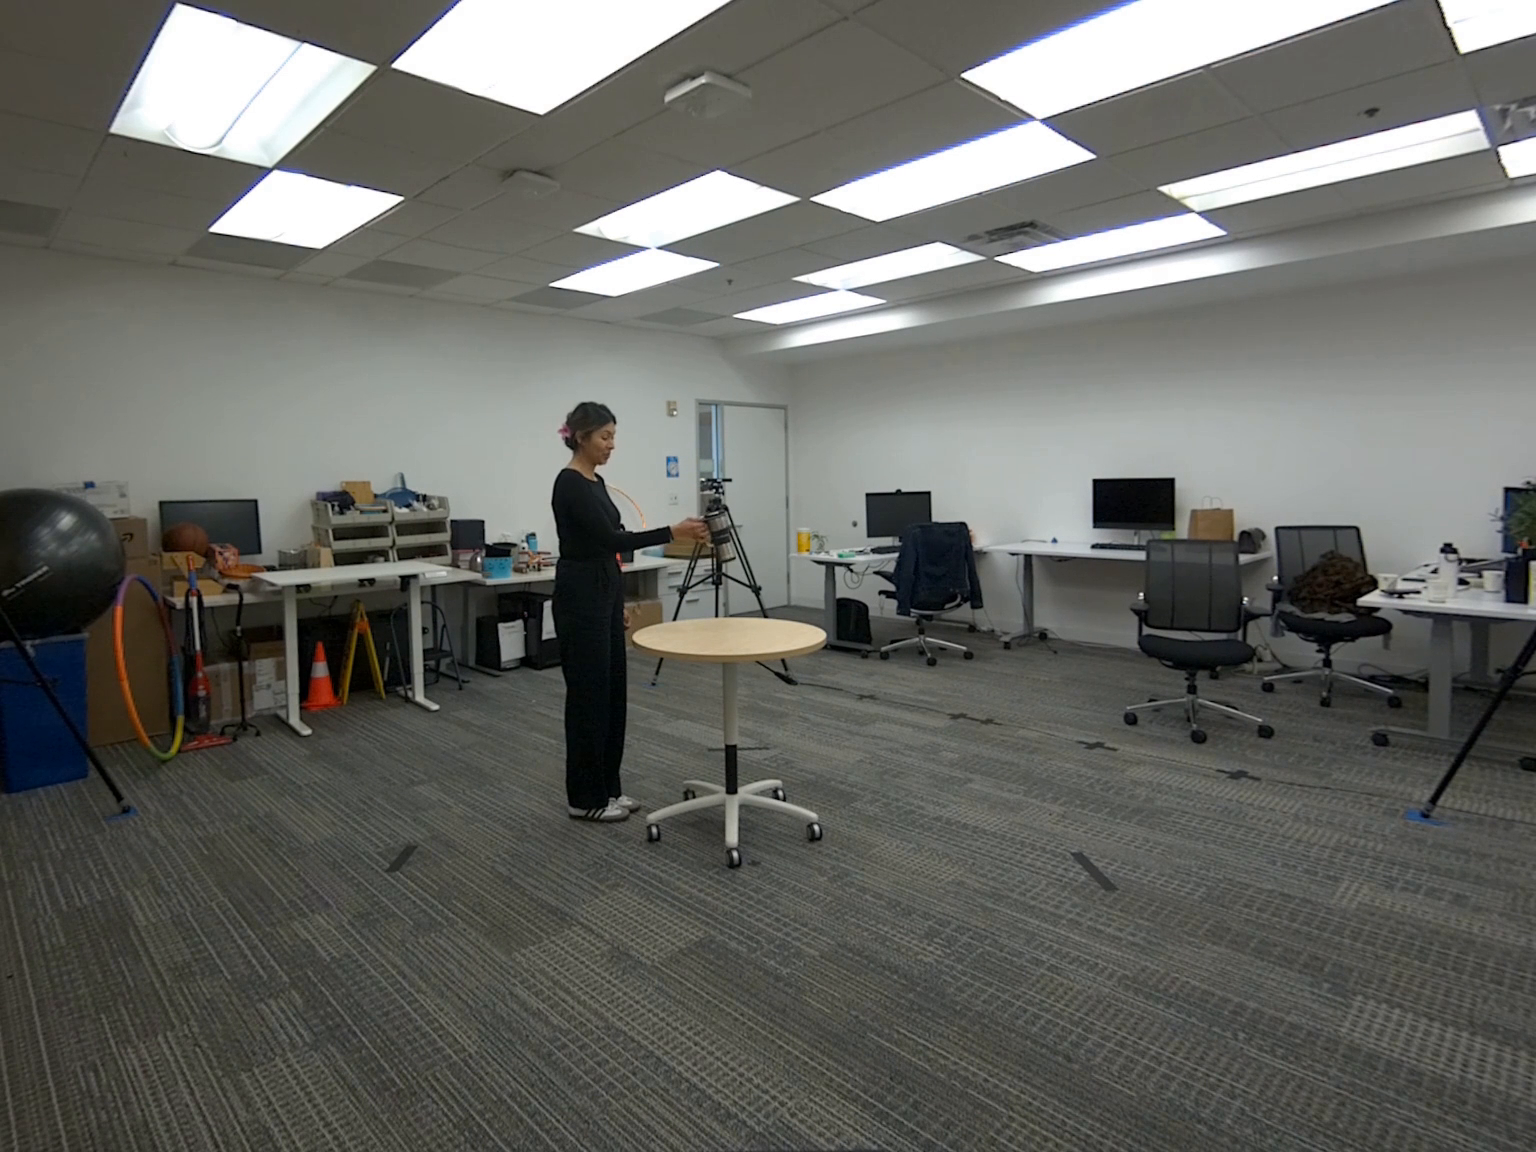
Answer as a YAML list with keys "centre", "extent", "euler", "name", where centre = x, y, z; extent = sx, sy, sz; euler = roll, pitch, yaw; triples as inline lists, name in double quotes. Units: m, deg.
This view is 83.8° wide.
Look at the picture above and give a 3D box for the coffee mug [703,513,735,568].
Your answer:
- centre: [-0.203, -0.150, 3.402]
  extent: [0.125, 0.201, 0.086]
  euler: [-8, 8, 37]
  name: "coffee mug"
